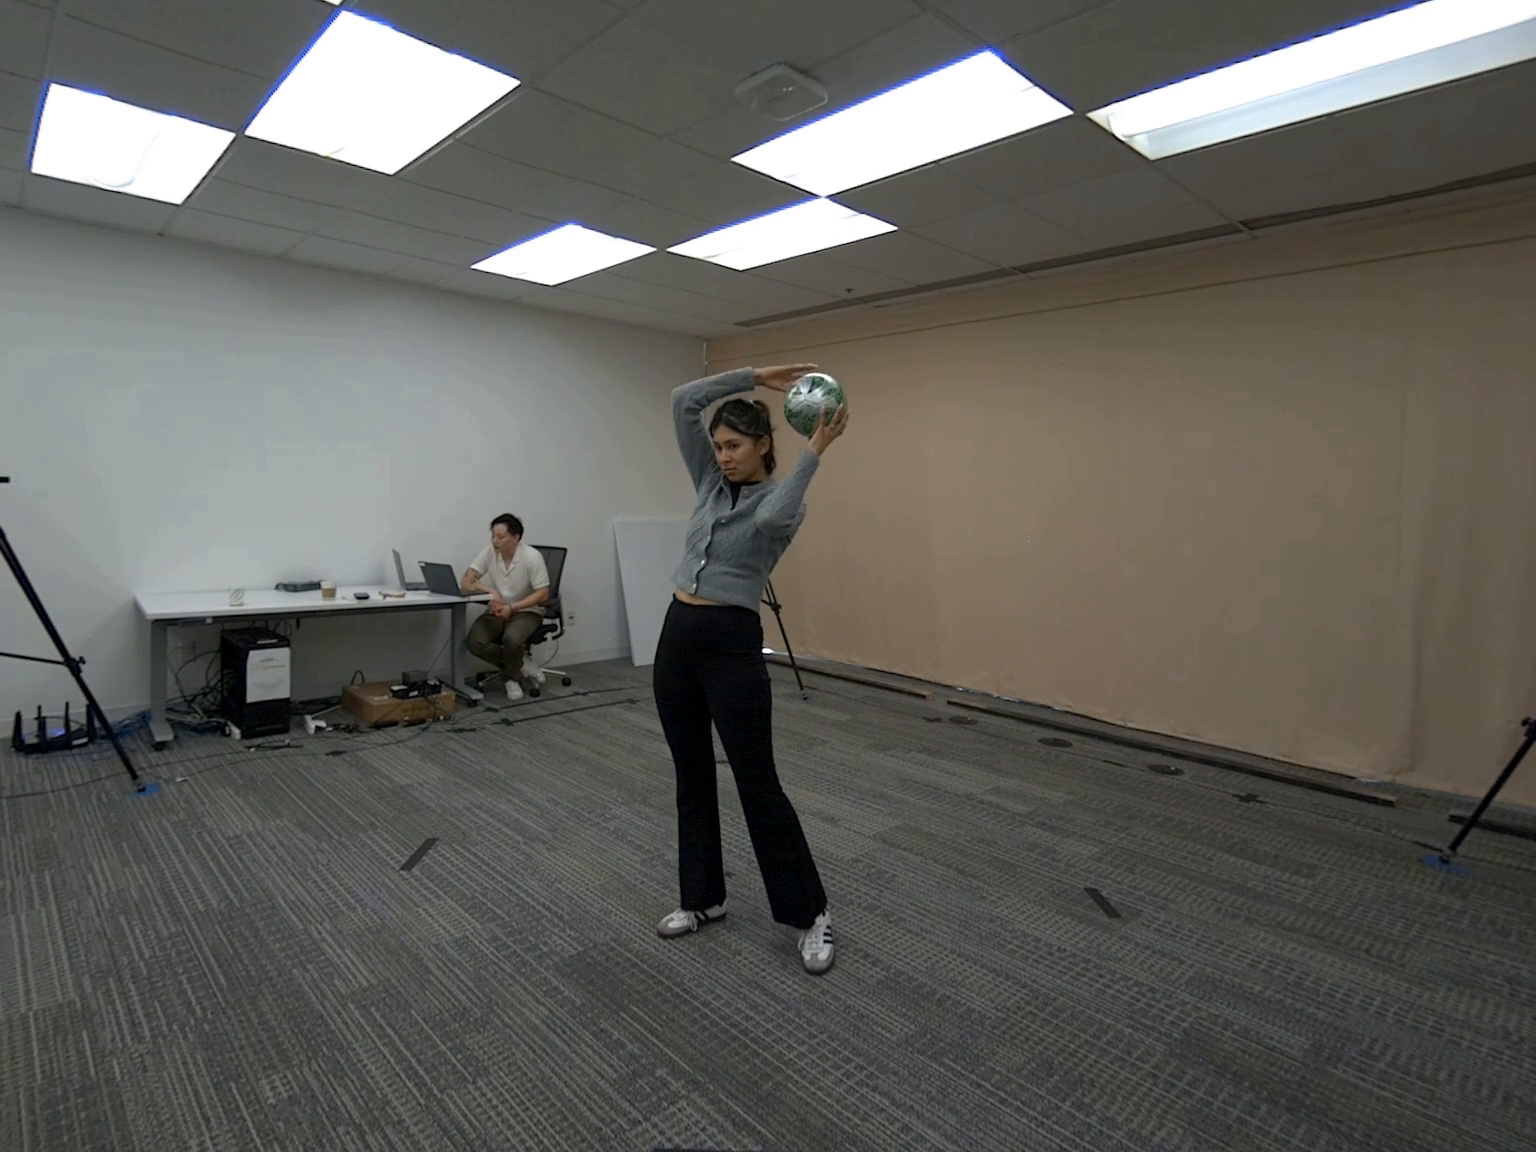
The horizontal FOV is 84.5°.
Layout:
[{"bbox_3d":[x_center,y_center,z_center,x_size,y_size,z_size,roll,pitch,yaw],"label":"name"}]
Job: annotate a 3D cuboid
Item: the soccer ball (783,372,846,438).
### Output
[{"bbox_3d":[0.118,-0.495,2.465,0.187,0.187,0.188,1,4,-1],"label":"soccer ball"}]
